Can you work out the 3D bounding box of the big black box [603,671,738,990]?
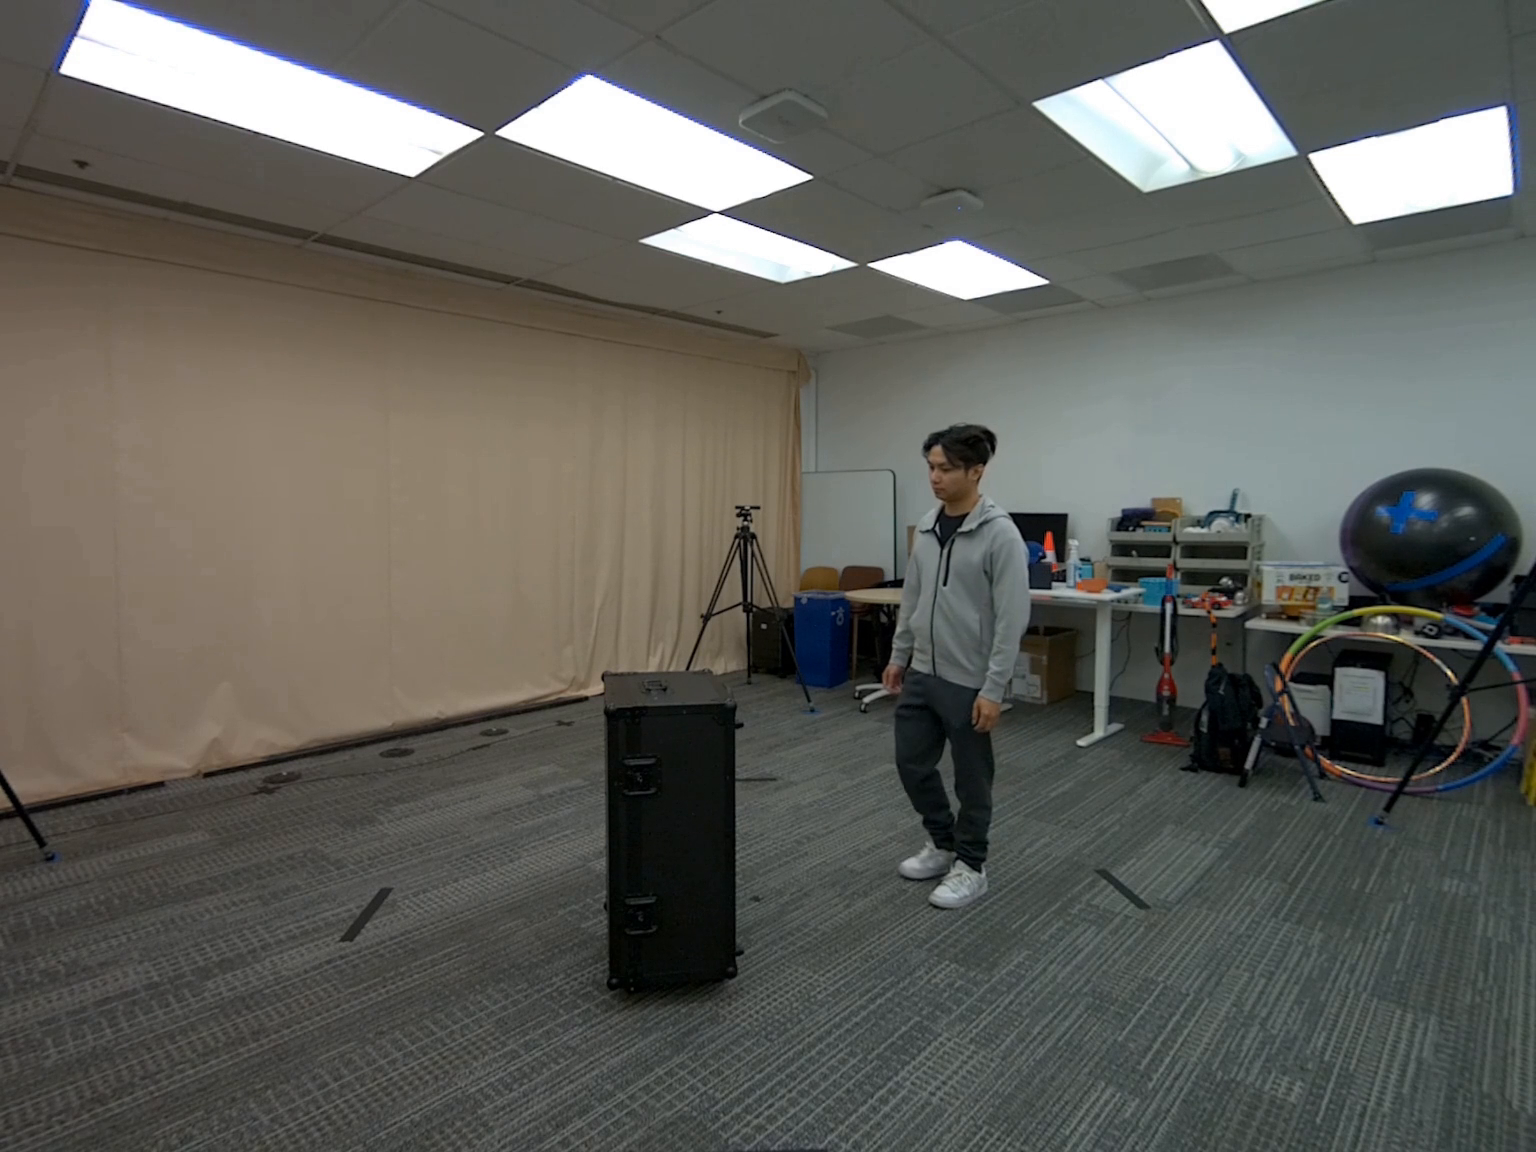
[{"bbox_3d":[-0.303,0.756,2.549,0.392,0.860,0.528,0,2,-12],"label":"big black box"}]
